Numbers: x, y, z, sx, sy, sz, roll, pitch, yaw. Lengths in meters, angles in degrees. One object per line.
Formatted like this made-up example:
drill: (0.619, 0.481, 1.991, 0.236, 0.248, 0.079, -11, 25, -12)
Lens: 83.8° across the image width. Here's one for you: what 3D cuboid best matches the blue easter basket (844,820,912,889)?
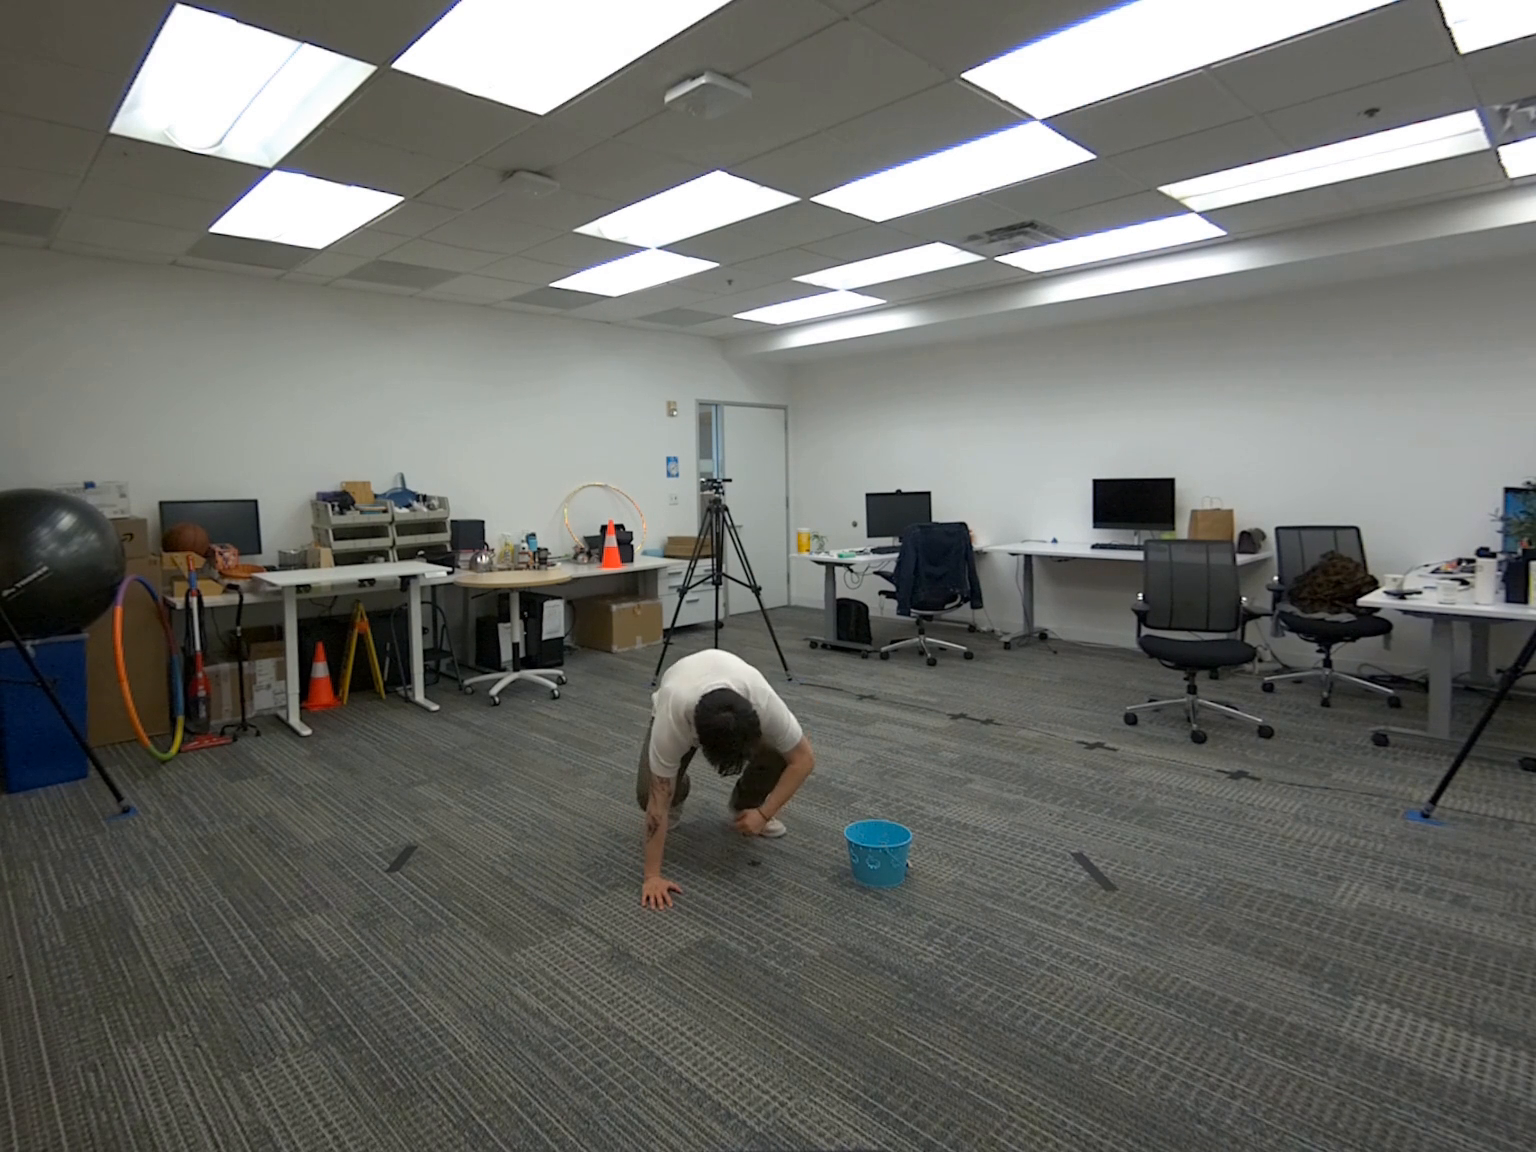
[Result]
blue easter basket: (0.392, 0.968, 2.981, 0.243, 0.155, 0.245, -2, 6, -1)
